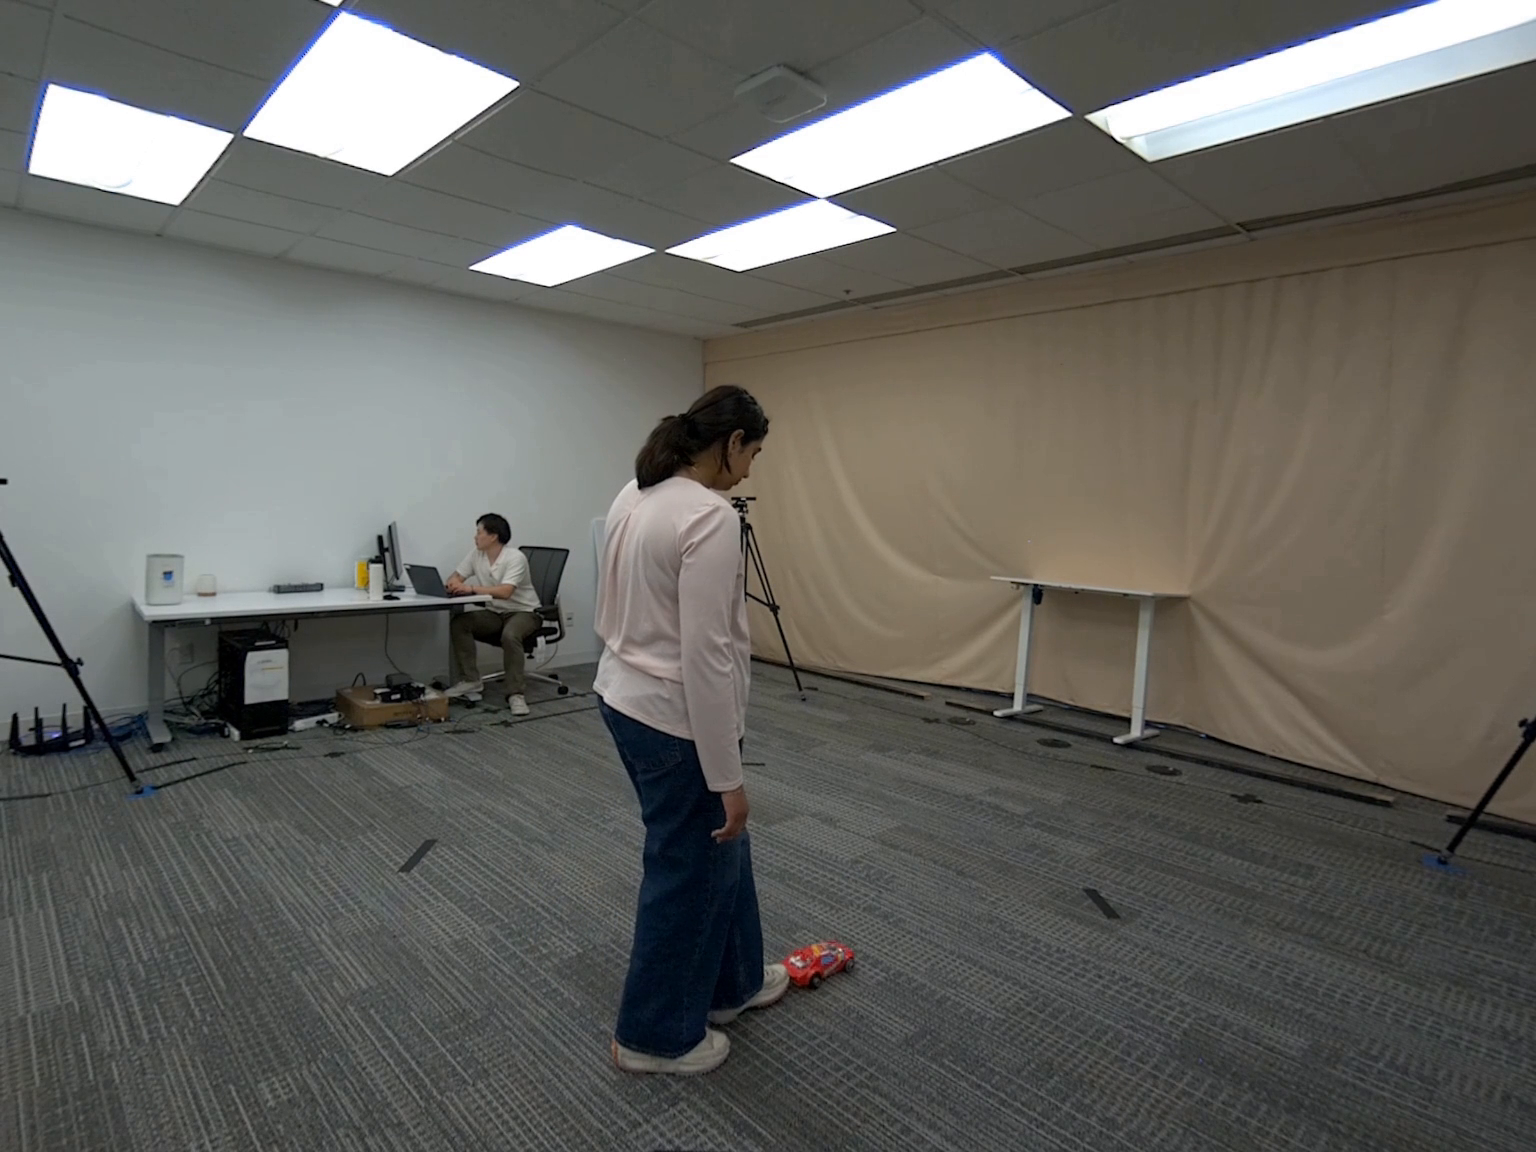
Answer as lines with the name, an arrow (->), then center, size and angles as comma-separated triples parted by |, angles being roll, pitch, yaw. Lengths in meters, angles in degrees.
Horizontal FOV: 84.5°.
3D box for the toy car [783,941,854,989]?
toy car -> 0.131, 1.142, 2.467 | 0.247, 0.083, 0.134 | 12, -3, -41
